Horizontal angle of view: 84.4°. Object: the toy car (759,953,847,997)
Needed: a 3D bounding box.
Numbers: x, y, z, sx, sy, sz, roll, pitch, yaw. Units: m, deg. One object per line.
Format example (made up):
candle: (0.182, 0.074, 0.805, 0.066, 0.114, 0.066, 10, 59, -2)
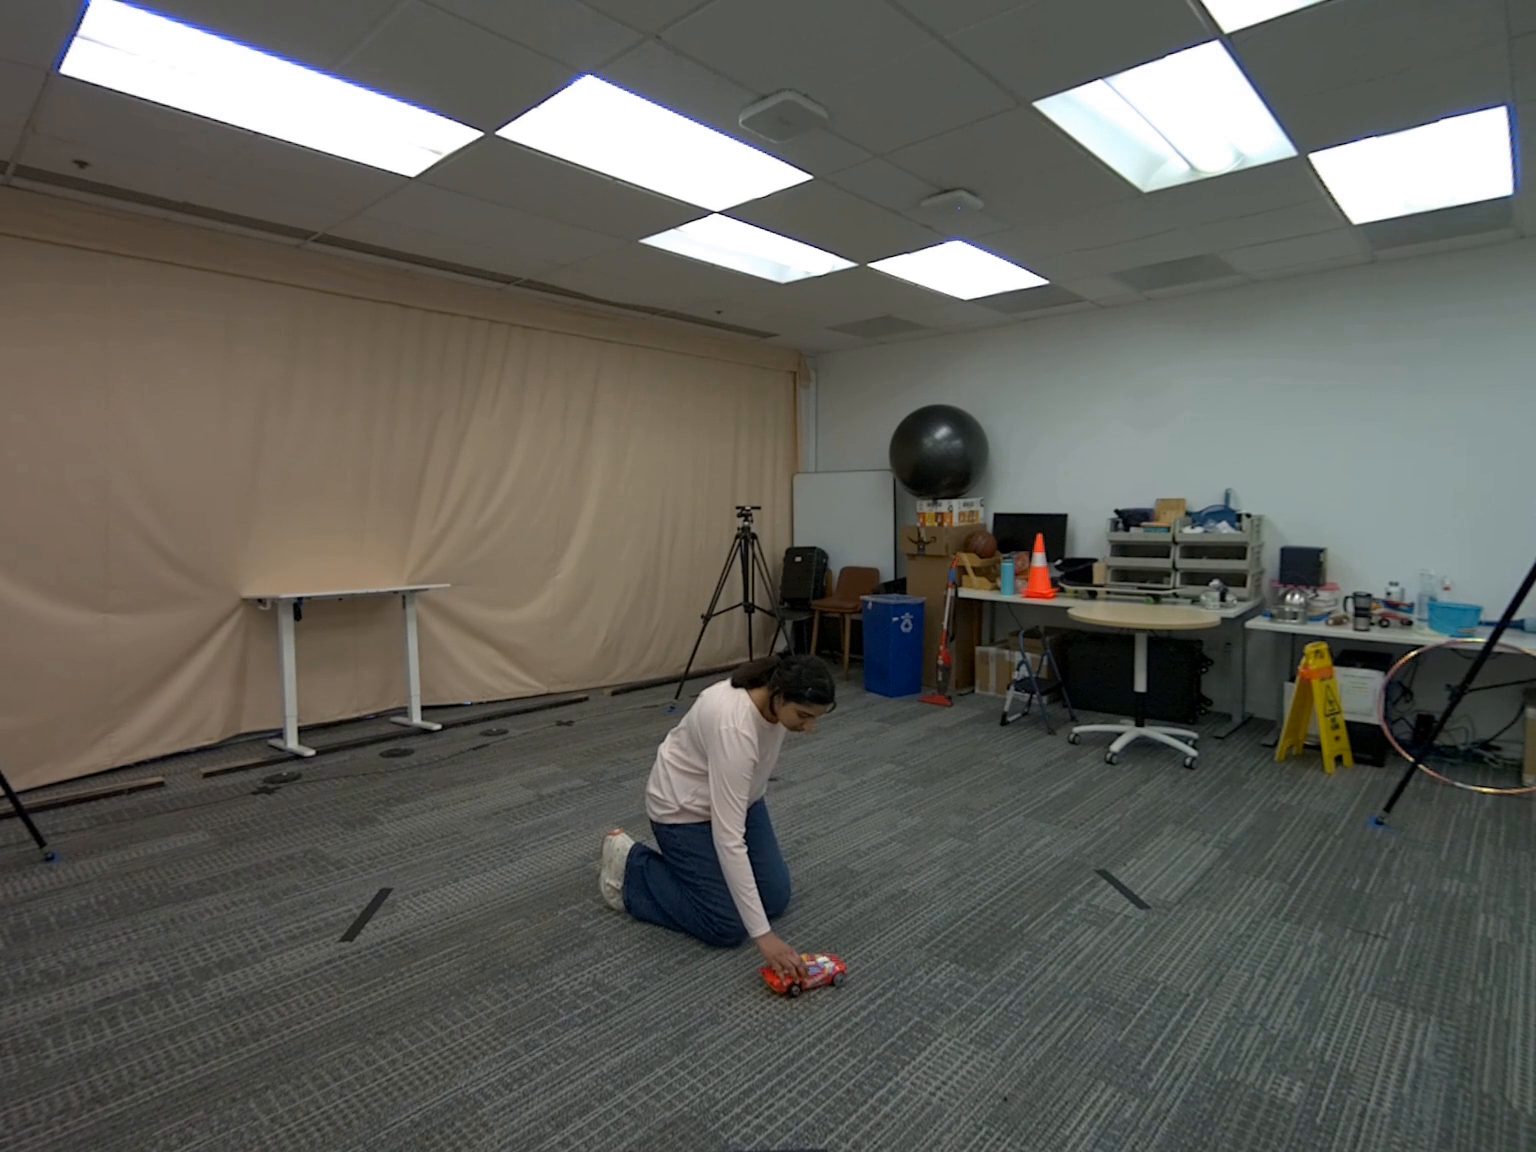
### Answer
toy car: (0.102, 1.160, 2.447, 0.248, 0.083, 0.133, 9, -1, -24)
